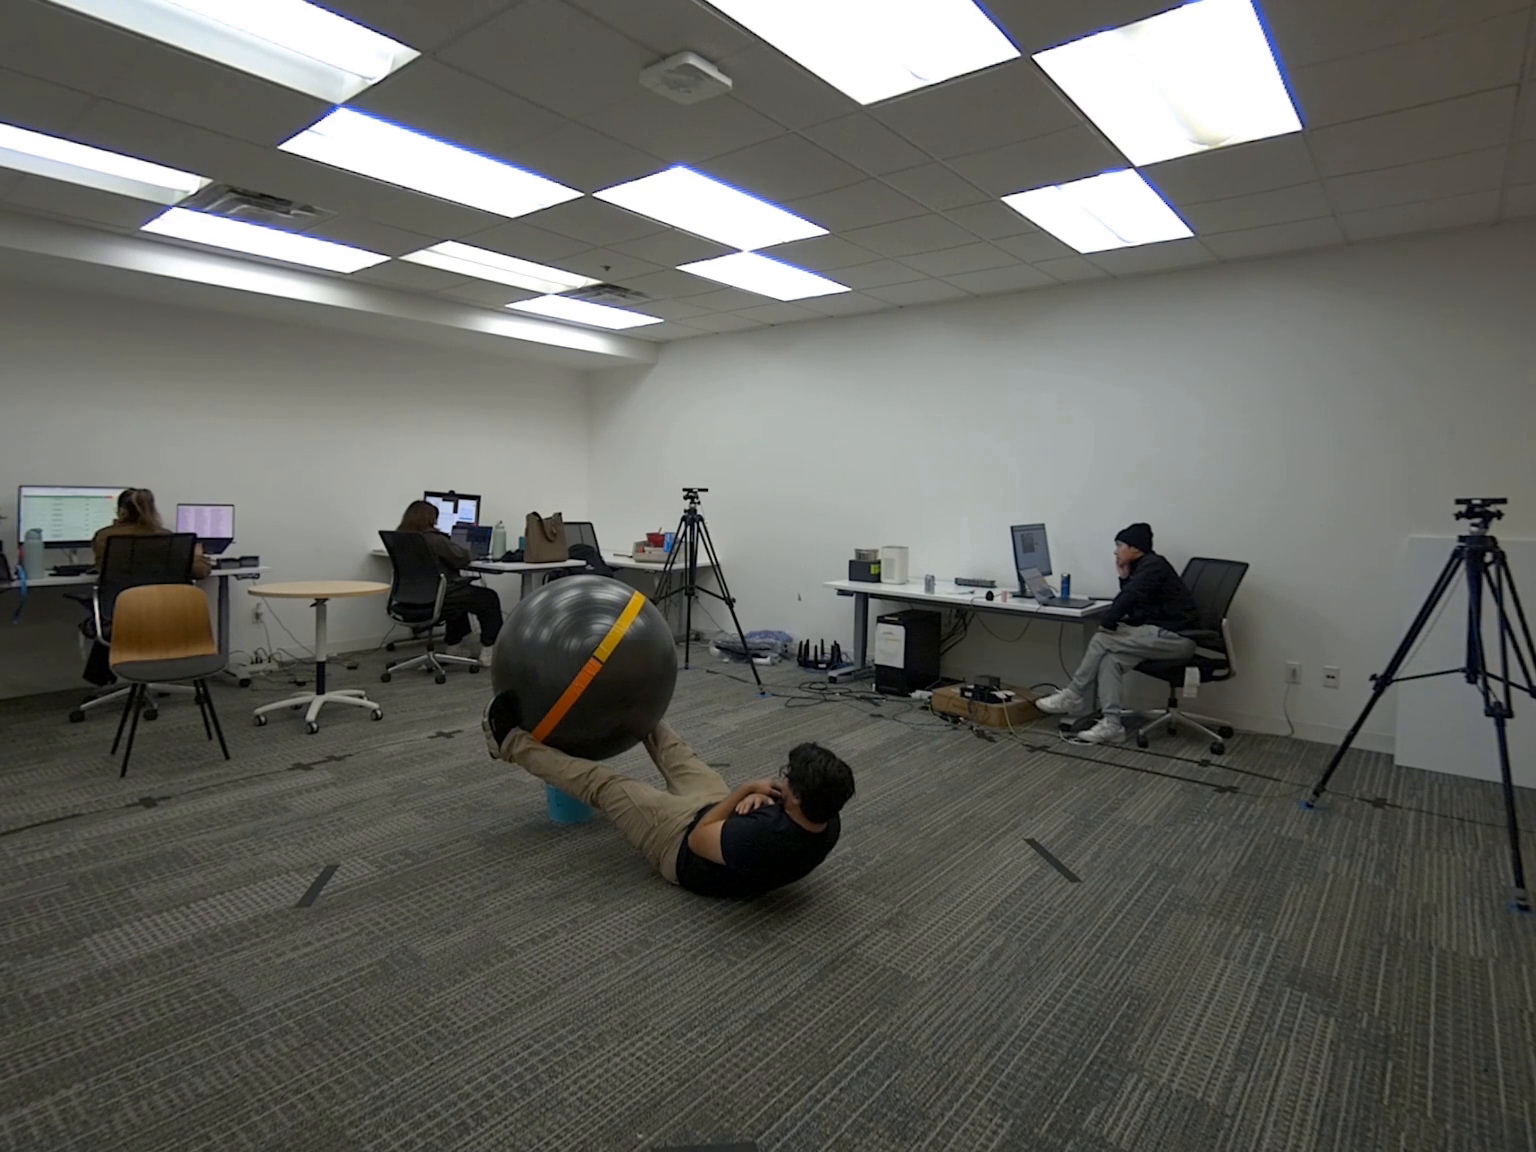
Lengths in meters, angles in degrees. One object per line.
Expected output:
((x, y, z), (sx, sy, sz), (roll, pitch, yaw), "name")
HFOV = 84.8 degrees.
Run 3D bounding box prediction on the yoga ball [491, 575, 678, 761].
((-0.763, 0.377, 3.507), (0.757, 0.755, 0.762), (1, 4, -2), "yoga ball")
